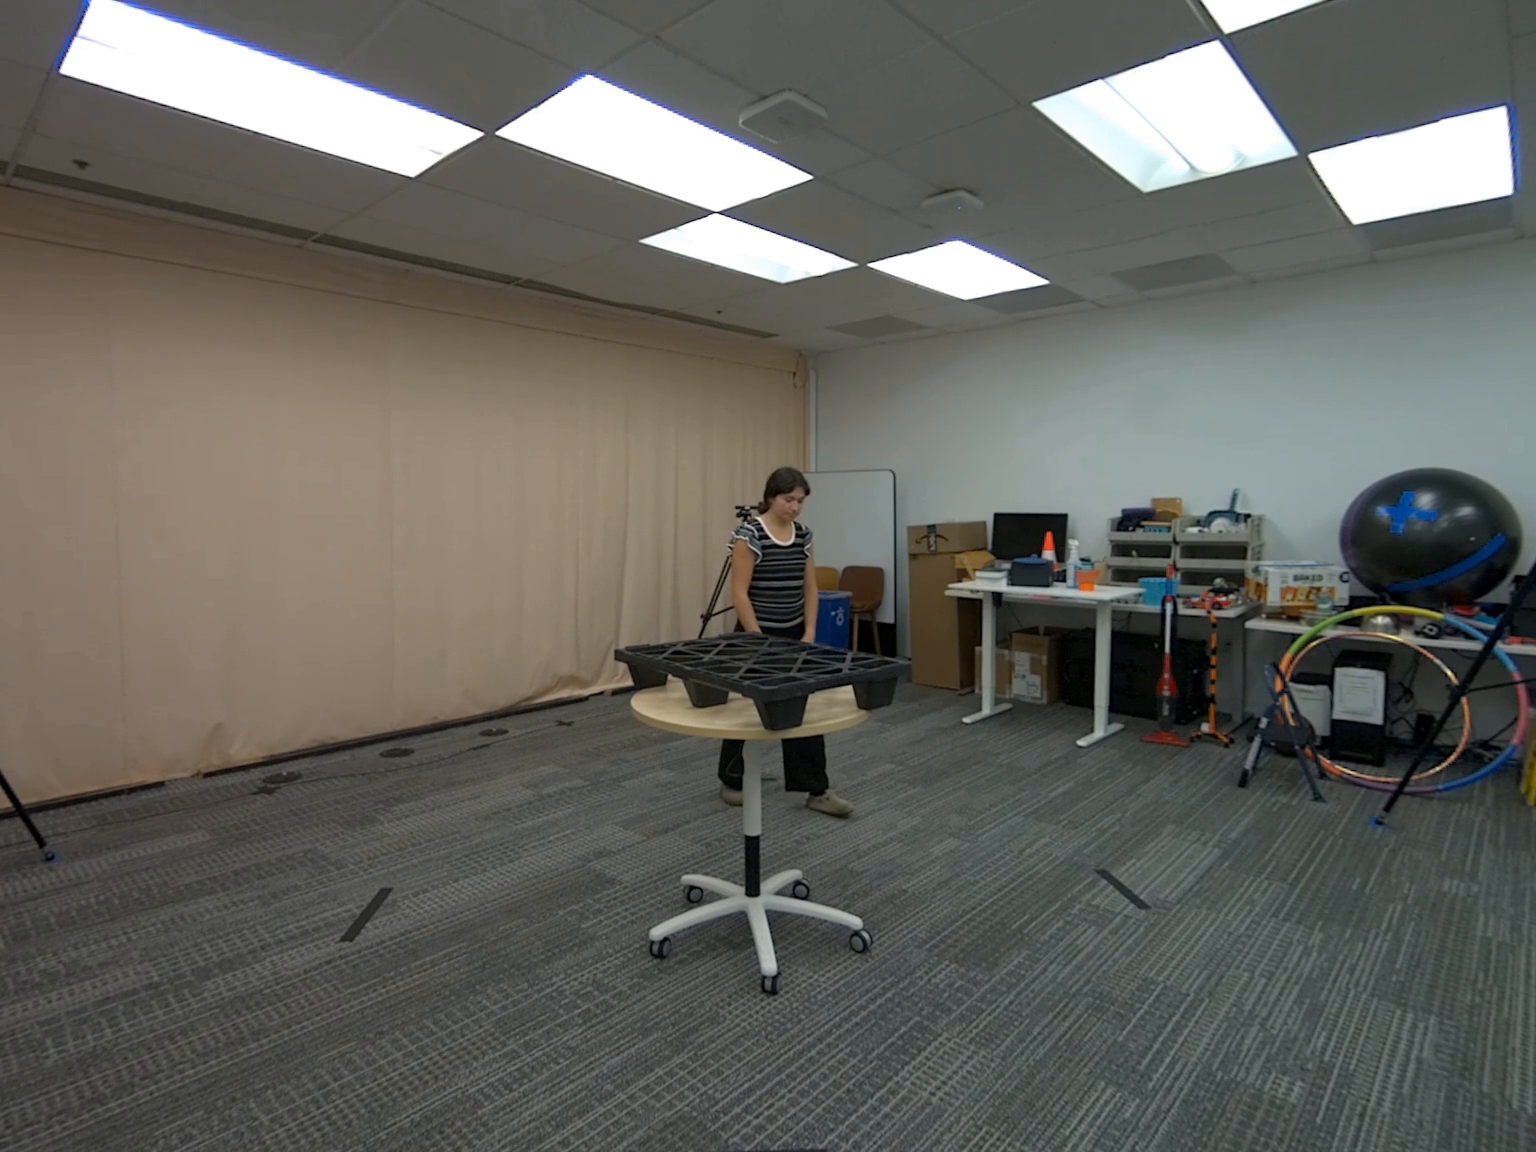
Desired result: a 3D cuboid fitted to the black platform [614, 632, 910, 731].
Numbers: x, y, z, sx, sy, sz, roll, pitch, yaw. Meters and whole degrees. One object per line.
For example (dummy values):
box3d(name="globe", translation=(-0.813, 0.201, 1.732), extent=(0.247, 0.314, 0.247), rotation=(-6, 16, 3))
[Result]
box3d(name="black platform", translation=(-0.031, 0.323, 2.694), extent=(0.587, 0.143, 0.832), rotation=(-6, 7, -39))
